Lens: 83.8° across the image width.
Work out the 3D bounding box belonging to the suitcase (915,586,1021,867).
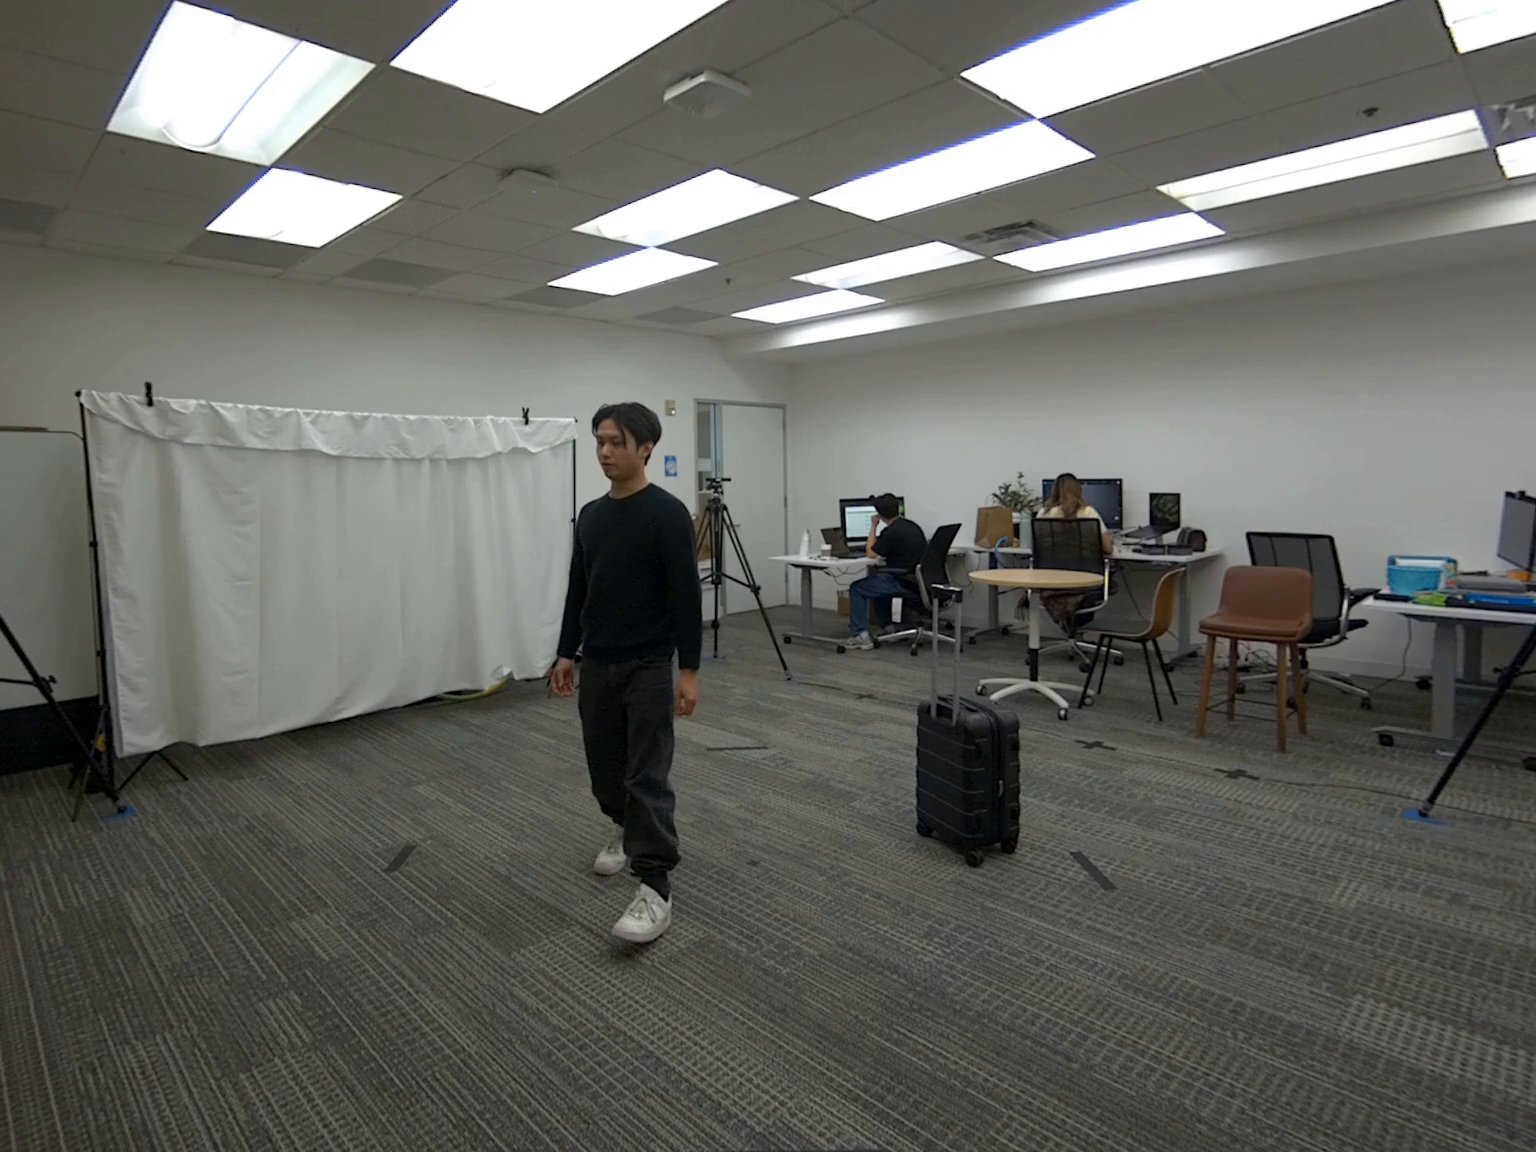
[{"bbox_3d":[0.755,0.535,3.224,0.252,0.977,0.392,0,2,-22],"label":"suitcase"}]
